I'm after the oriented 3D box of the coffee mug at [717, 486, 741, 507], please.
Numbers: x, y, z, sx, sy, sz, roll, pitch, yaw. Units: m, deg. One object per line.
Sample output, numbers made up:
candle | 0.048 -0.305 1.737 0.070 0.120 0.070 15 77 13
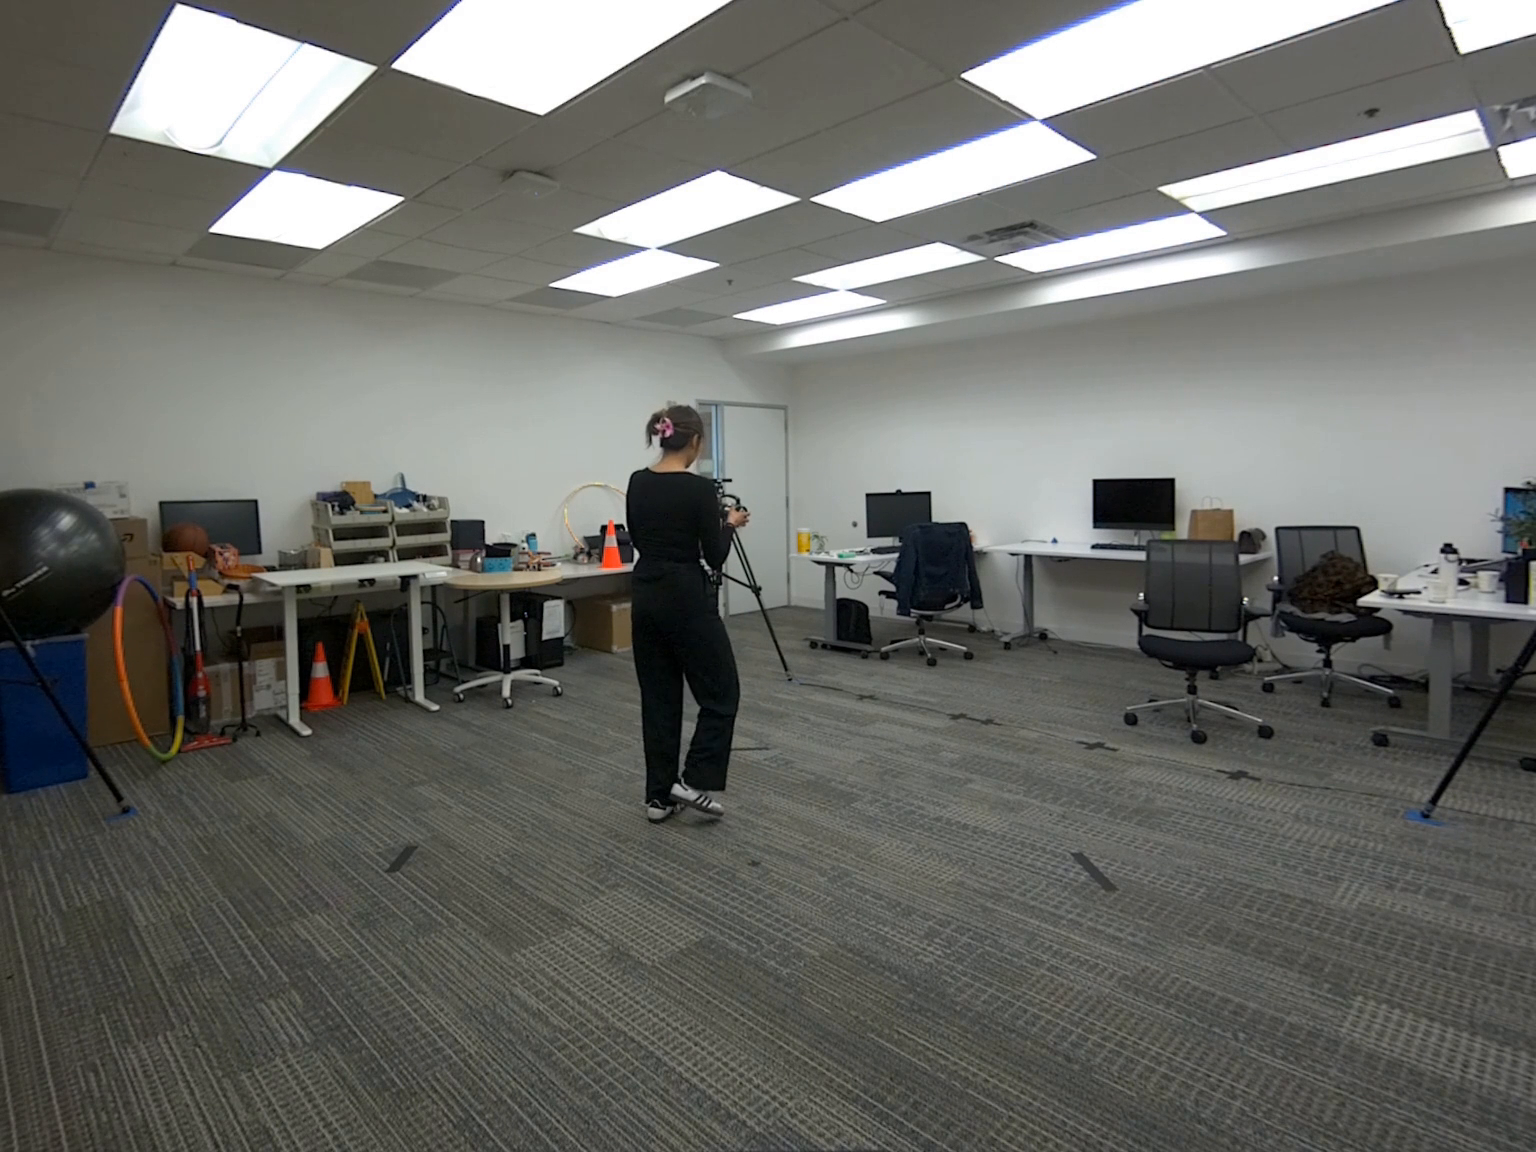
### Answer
coffee mug | -0.218 -0.299 3.784 0.210 0.122 0.085 22 2 34
